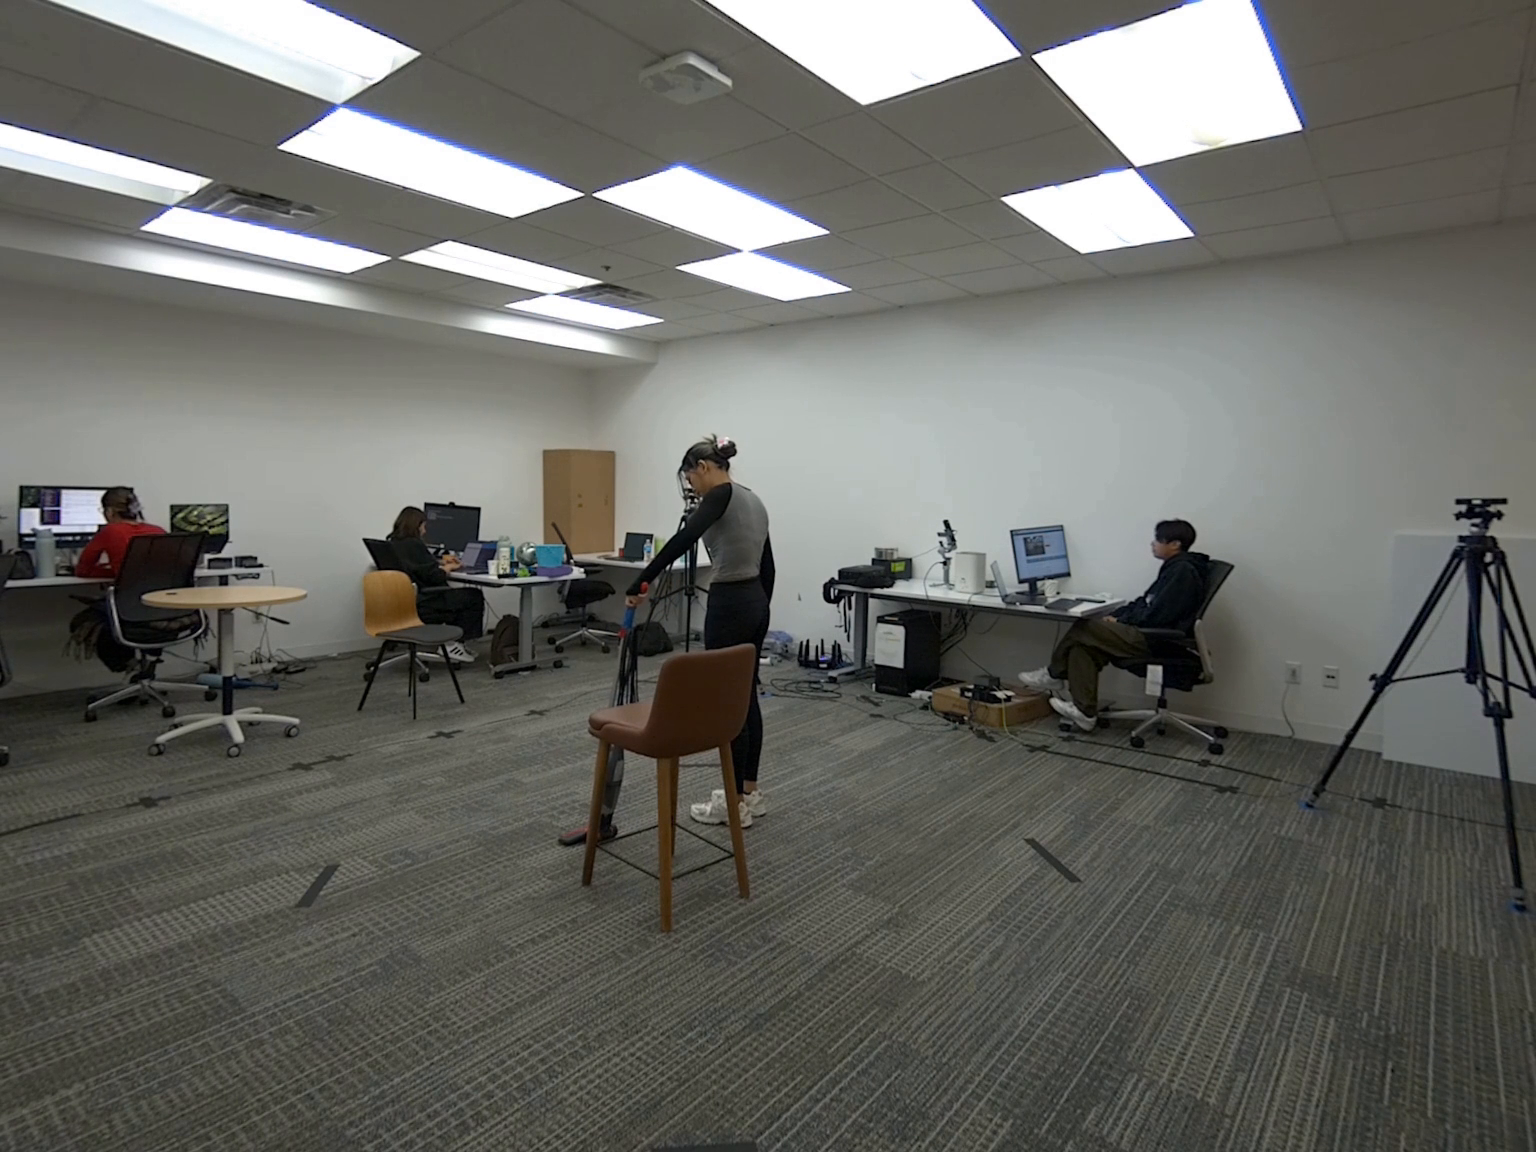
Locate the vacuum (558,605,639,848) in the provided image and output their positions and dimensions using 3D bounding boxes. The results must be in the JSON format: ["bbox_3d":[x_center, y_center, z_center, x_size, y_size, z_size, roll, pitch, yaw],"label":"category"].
[{"bbox_3d":[-0.598,0.542,3.294,0.149,1.043,0.244,18,10,38],"label":"vacuum"}]
